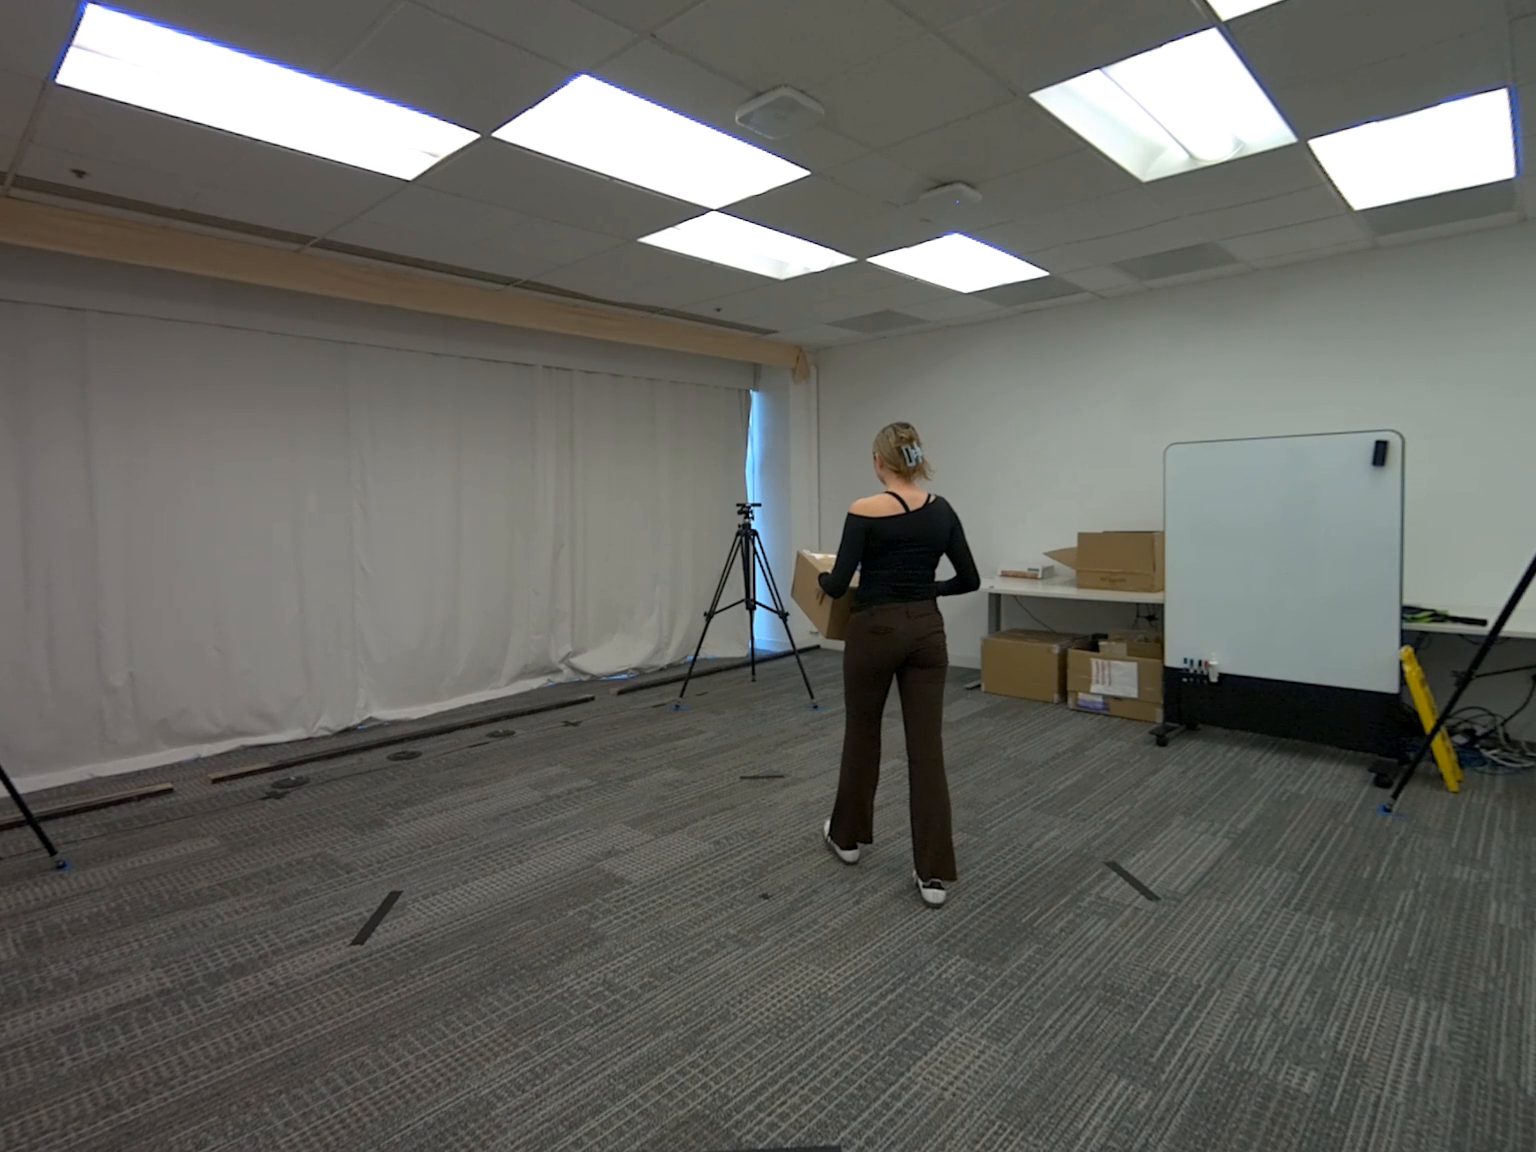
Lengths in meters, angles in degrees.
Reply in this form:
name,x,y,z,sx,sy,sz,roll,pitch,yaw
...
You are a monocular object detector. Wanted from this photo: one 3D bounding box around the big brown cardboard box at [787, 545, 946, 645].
name,x,y,z,sx,sy,sz,roll,pitch,yaw
big brown cardboard box,0.385,0.075,3.498,0.410,0.231,0.603,4,15,-17
